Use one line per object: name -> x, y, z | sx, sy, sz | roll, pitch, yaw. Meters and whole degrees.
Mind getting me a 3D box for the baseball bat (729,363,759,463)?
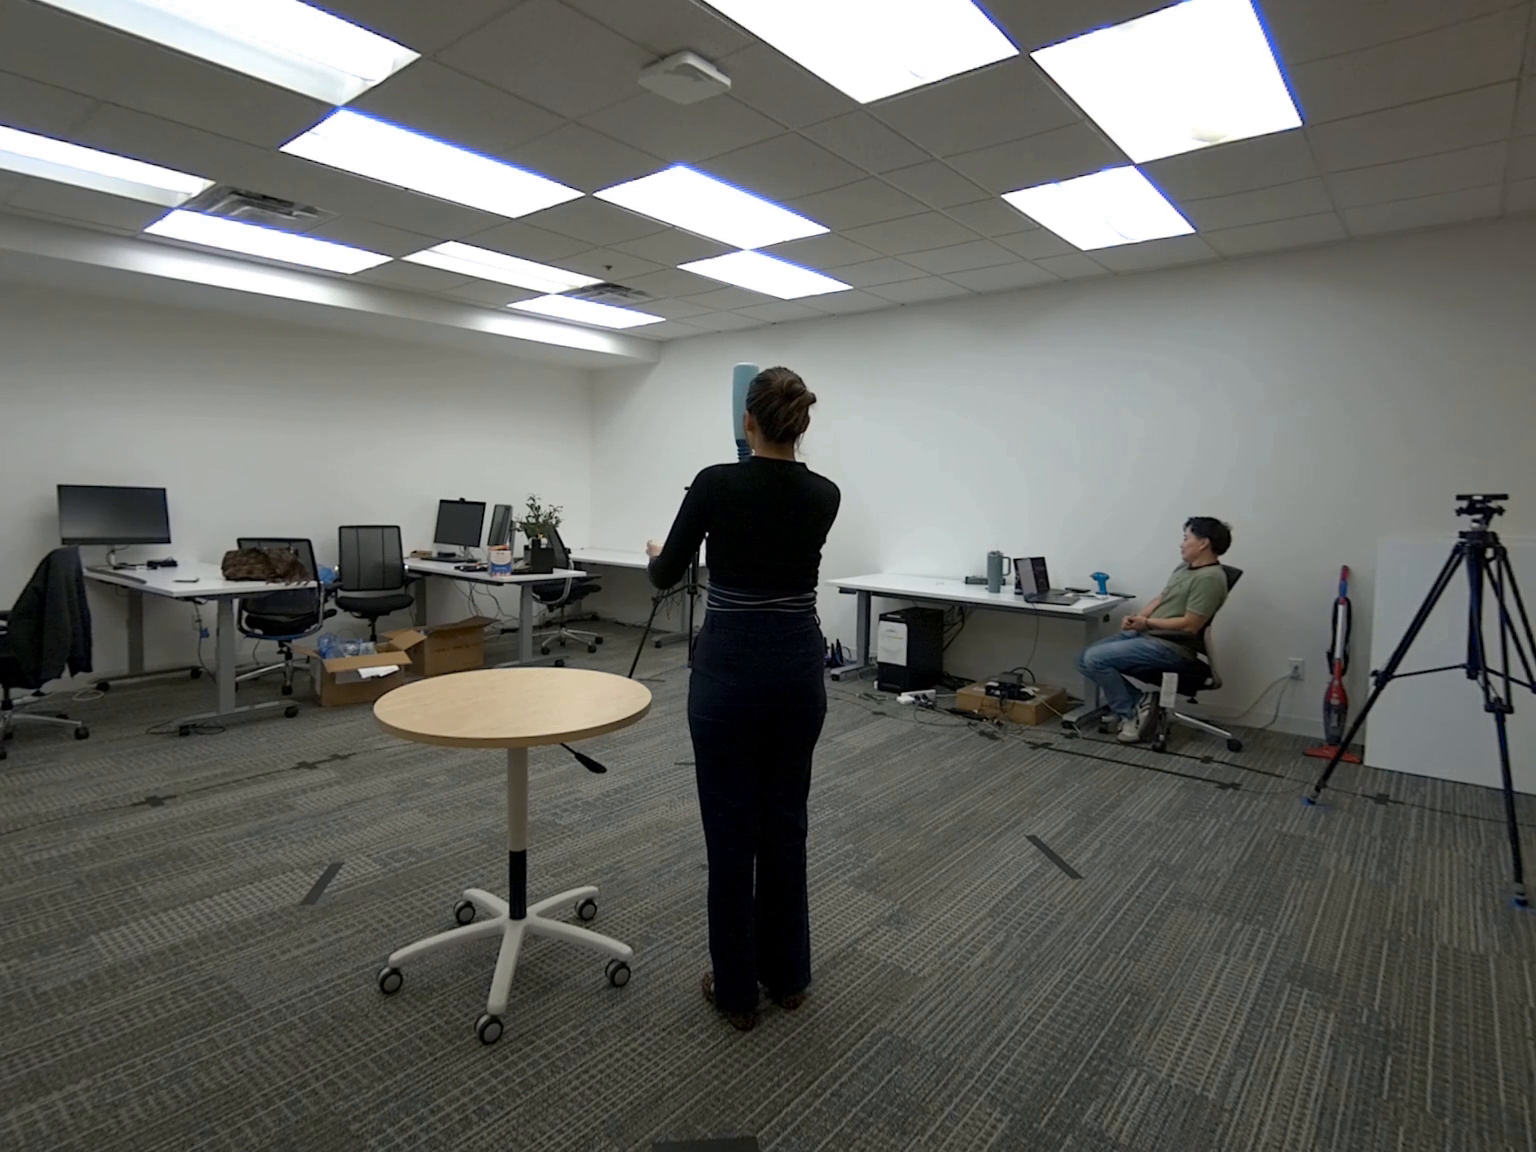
baseball bat -> -0.085, -0.432, 2.816 | 0.089, 0.541, 0.089 | 1, 4, -2
